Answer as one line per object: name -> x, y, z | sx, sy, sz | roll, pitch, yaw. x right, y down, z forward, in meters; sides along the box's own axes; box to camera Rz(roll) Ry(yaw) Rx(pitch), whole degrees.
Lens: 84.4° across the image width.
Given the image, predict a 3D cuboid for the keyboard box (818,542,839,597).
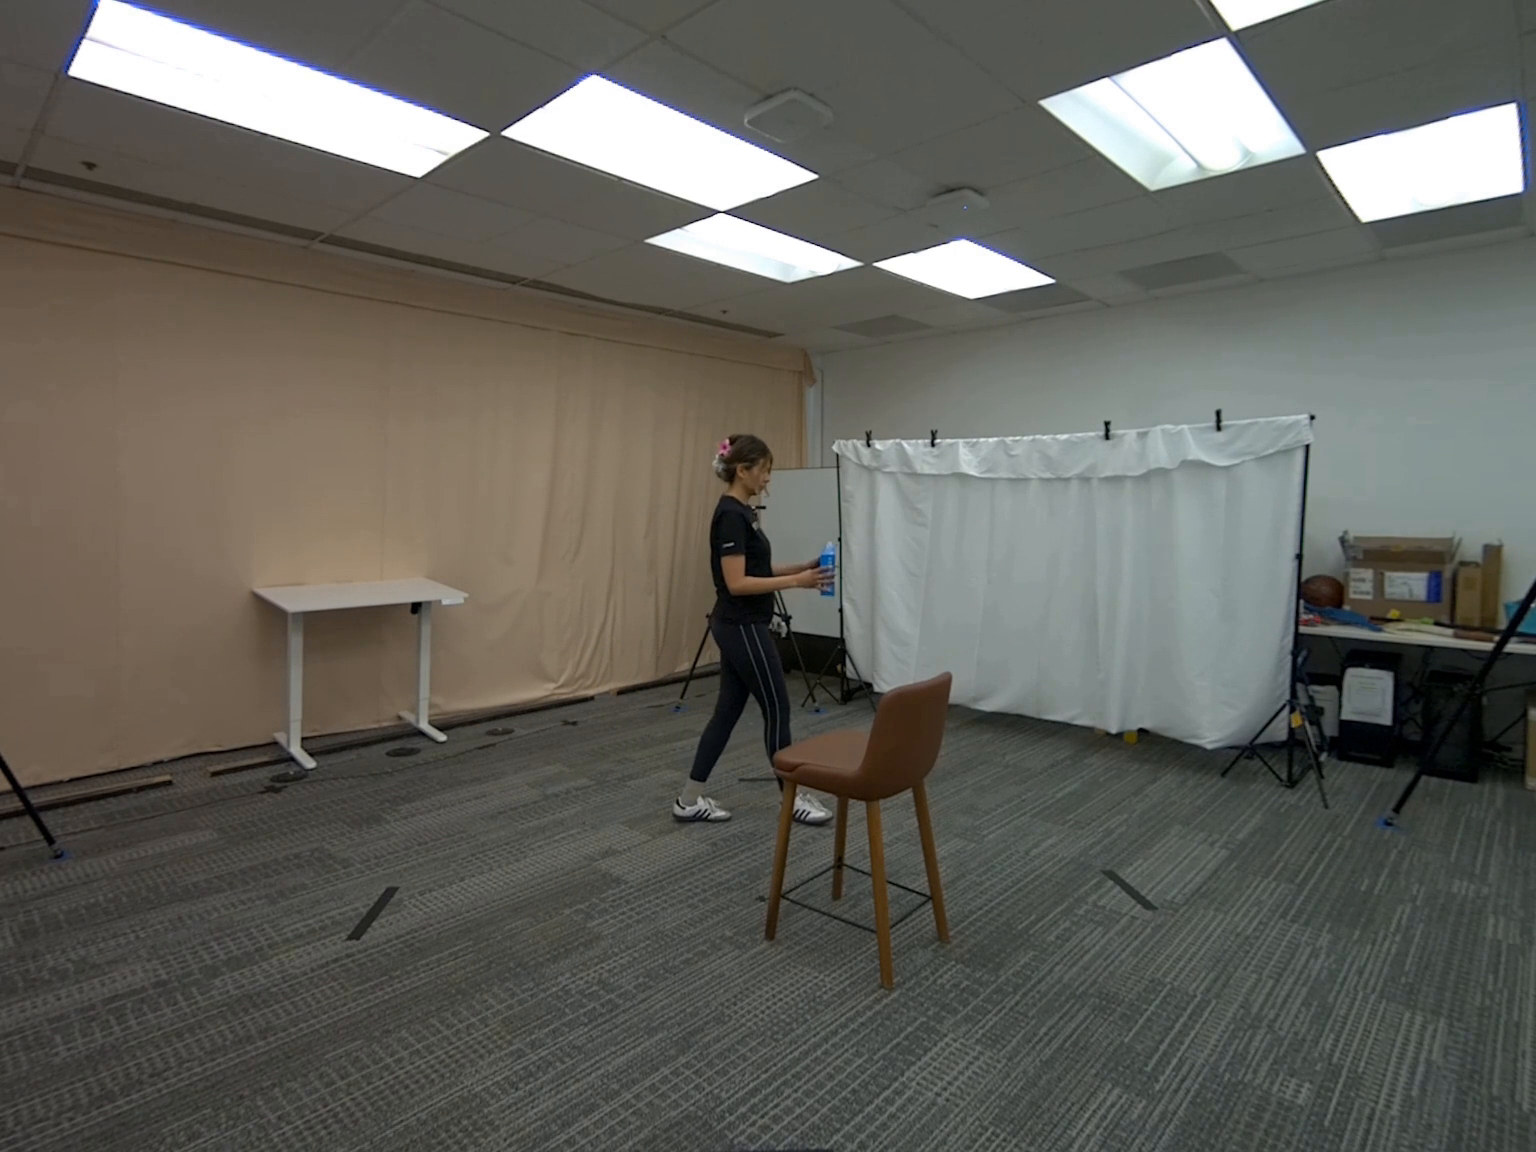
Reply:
keyboard box -> 0.276, -0.034, 3.649 | 0.059, 0.175, 0.435 | 0, 8, 7
